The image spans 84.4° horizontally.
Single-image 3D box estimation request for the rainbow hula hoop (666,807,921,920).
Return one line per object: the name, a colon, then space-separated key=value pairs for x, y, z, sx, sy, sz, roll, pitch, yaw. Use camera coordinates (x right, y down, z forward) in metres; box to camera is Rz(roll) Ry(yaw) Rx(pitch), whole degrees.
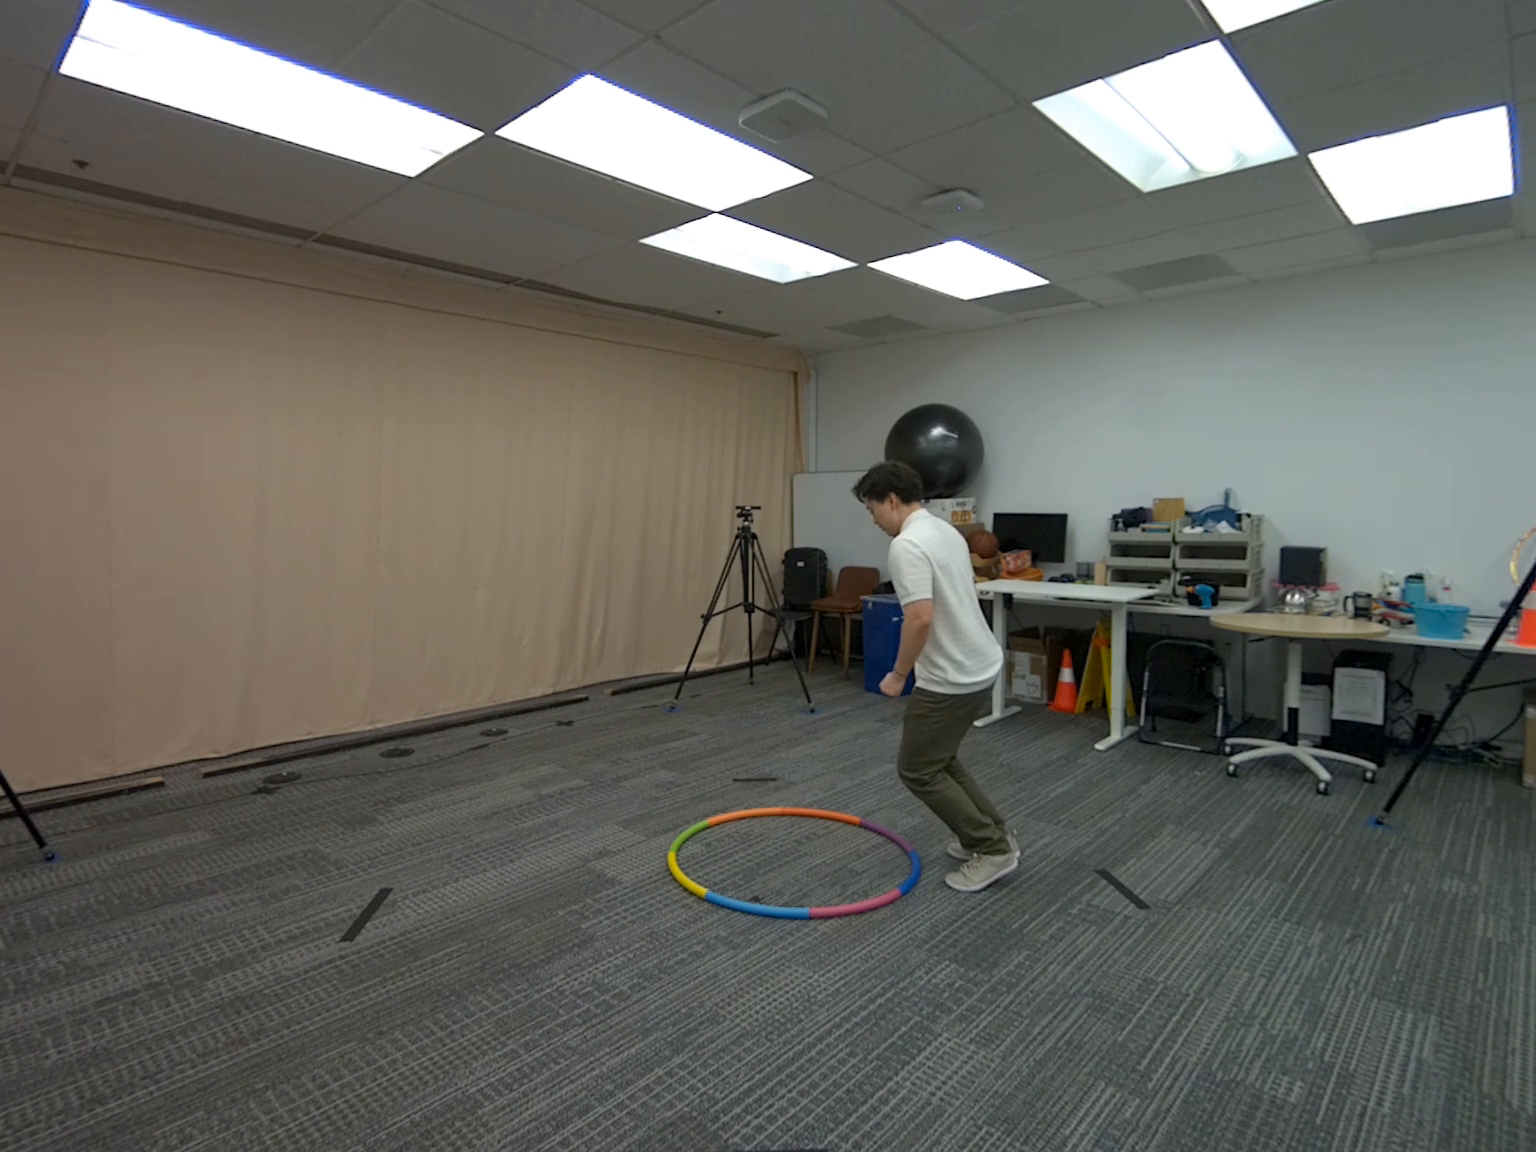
rainbow hula hoop: x=0.101 y=1.088 z=3.312 sx=0.978 sy=0.035 sz=0.982 roll=0 pitch=5 yaw=-2
